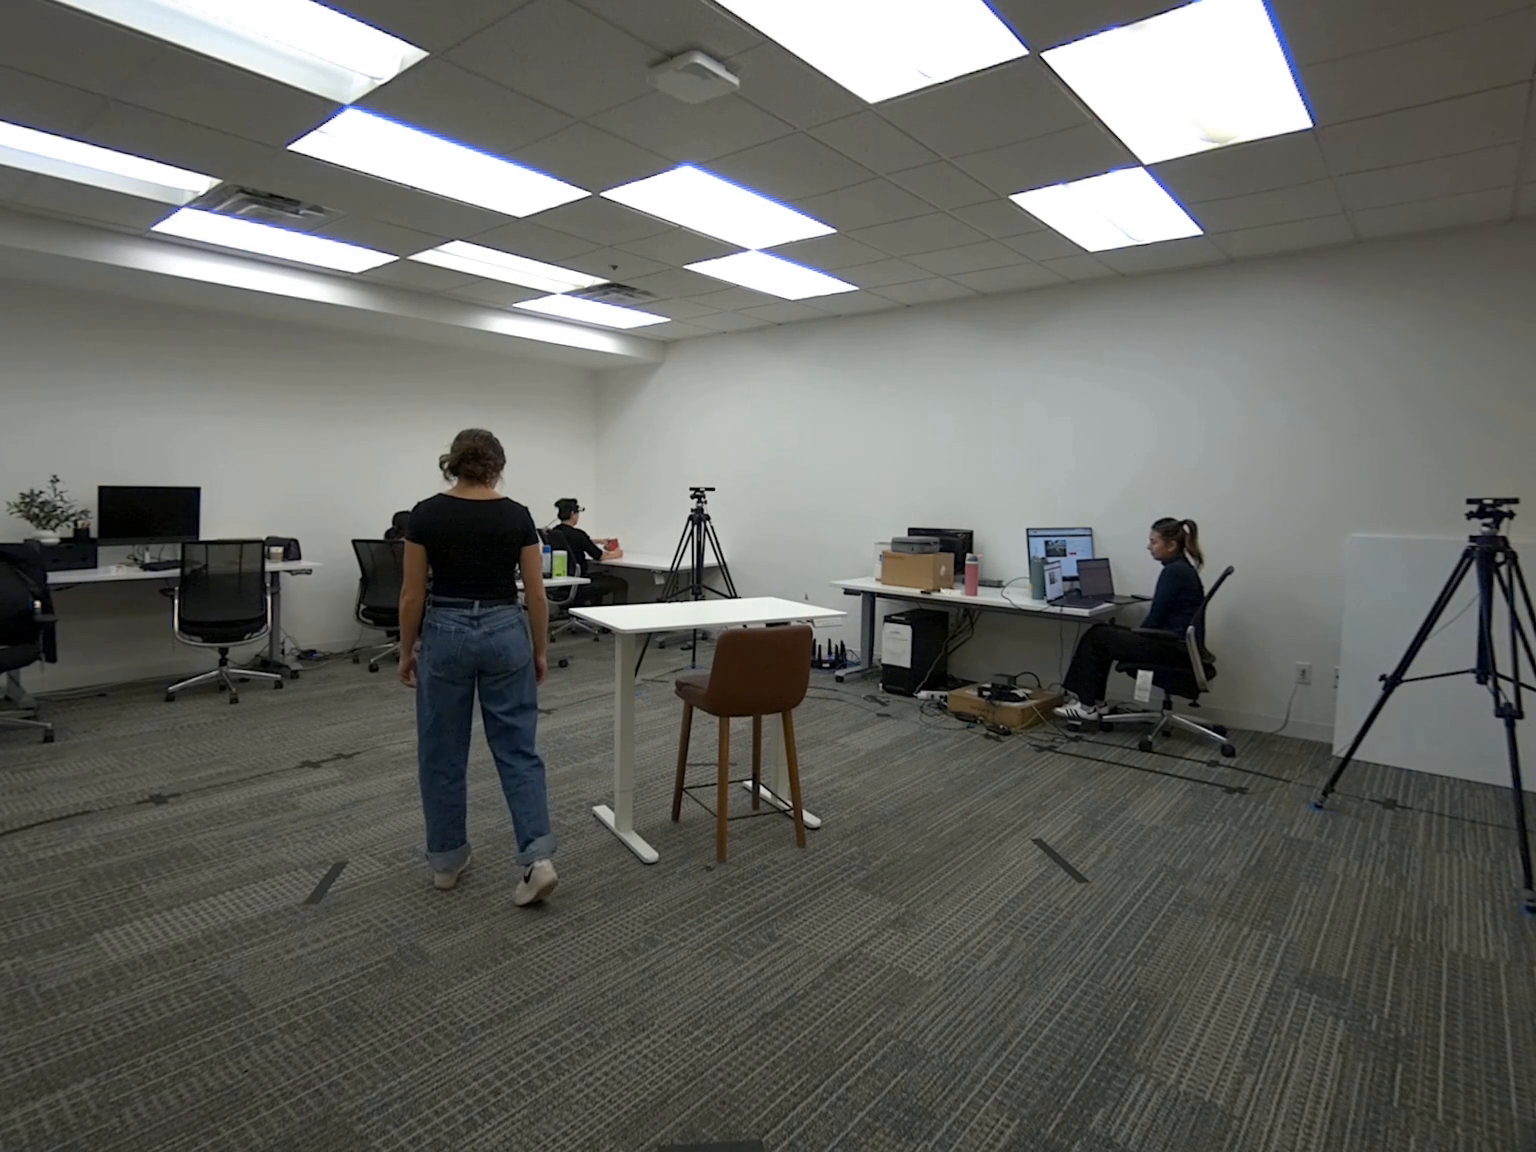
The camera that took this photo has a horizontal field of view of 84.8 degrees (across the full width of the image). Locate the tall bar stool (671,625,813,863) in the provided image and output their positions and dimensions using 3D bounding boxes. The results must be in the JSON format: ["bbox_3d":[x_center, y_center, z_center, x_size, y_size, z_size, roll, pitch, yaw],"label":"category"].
[{"bbox_3d":[-0.109,0.611,3.416,0.445,0.886,0.482,0,6,-27],"label":"tall bar stool"}]
